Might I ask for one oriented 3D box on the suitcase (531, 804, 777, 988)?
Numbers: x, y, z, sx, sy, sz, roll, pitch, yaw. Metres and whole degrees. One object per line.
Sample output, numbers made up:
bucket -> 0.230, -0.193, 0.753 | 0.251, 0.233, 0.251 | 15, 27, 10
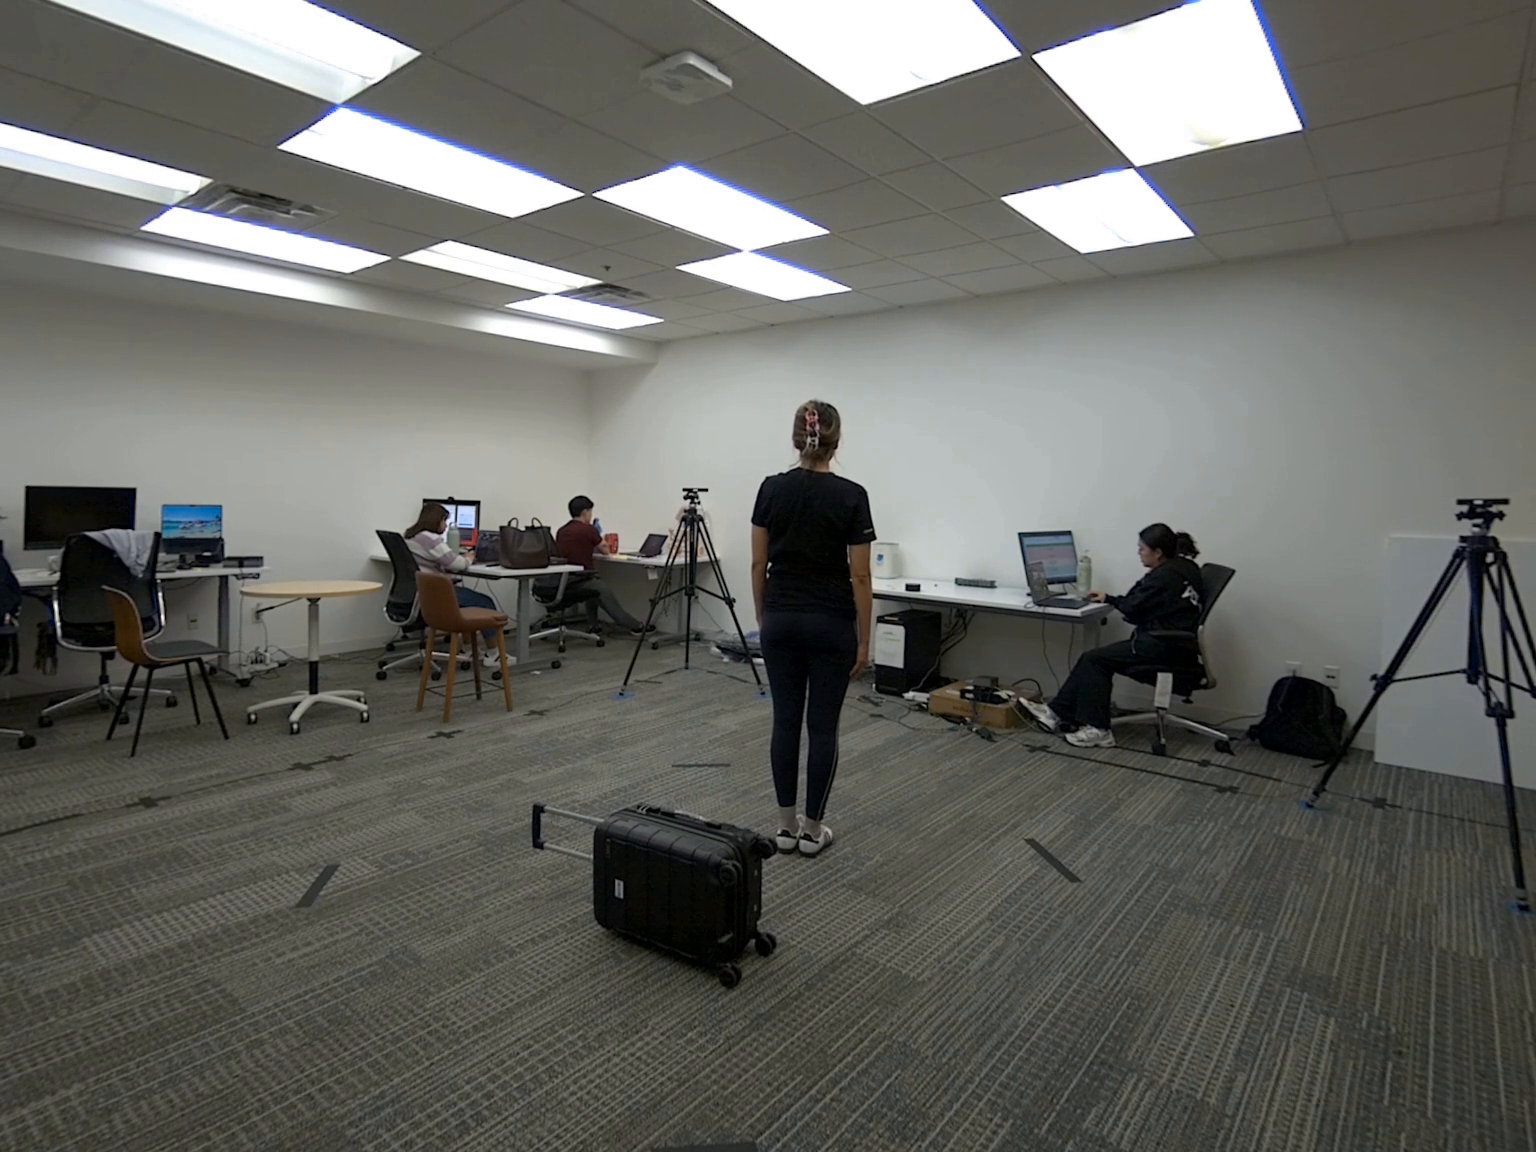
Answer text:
suitcase -> -0.458, 0.918, 2.700 | 1.008, 0.383, 0.250 | 4, 4, 30
